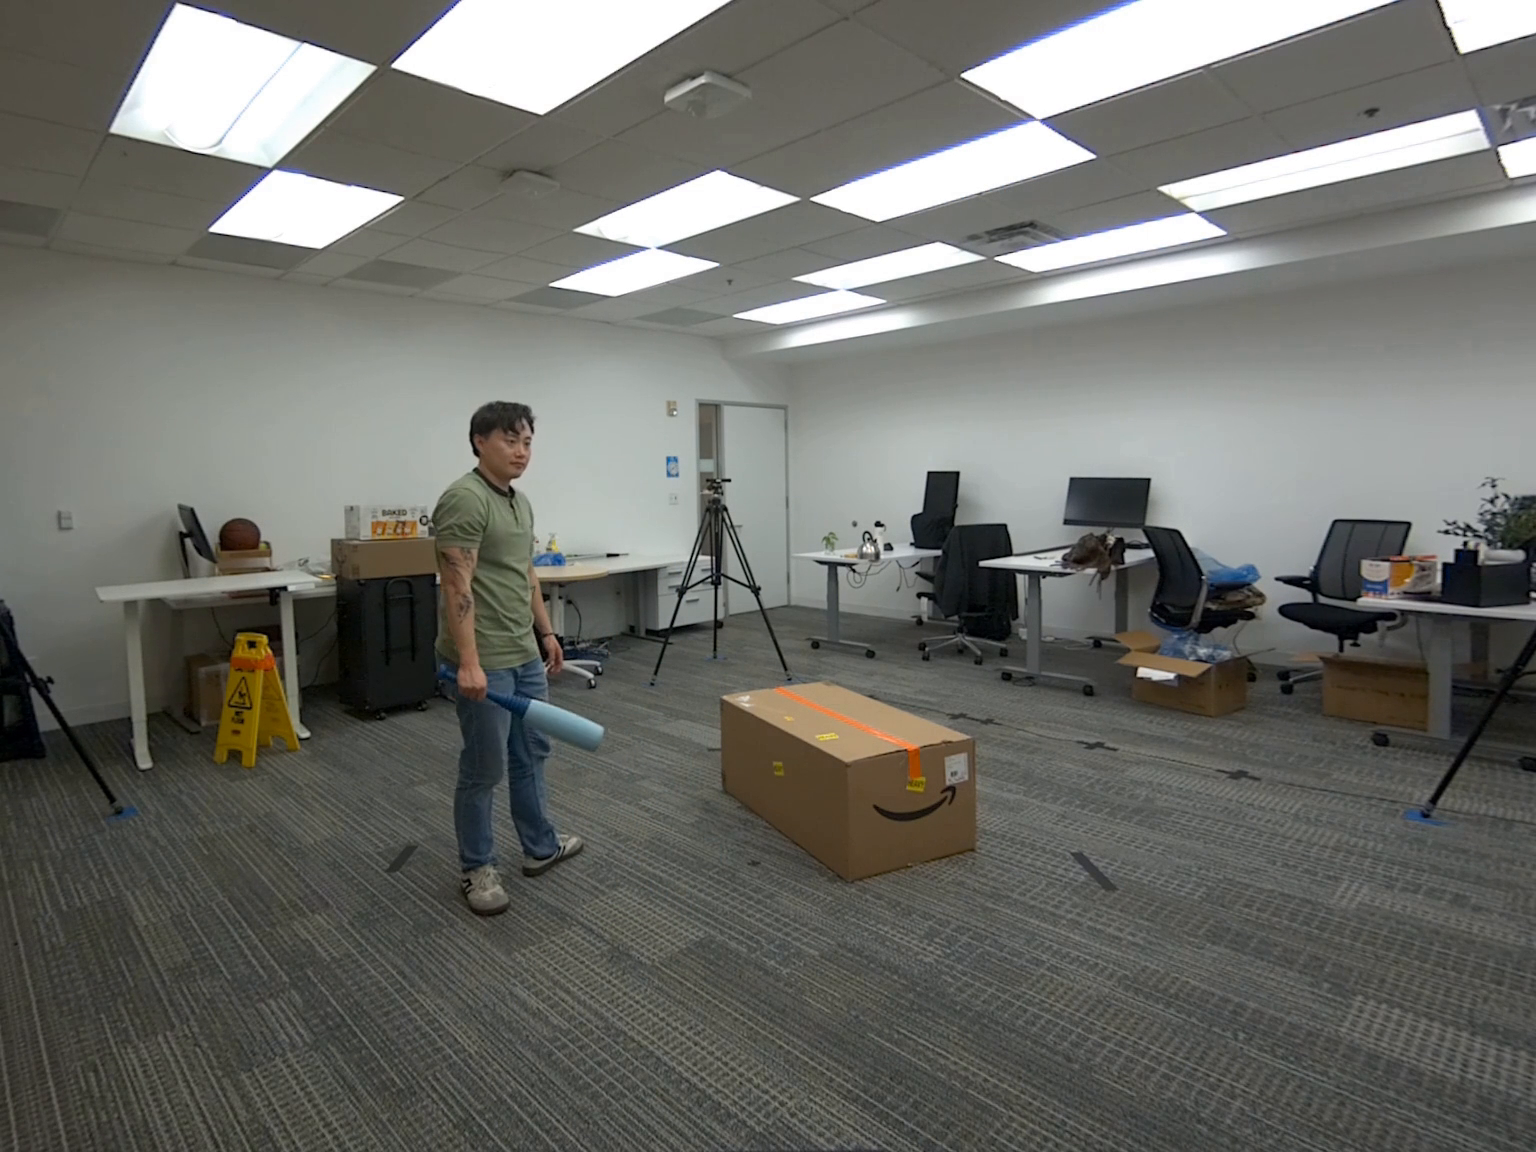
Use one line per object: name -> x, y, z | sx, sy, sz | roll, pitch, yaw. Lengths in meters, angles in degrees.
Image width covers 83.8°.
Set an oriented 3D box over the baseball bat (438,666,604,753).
baseball bat -> -0.760, 0.404, 2.637 | 0.539, 0.089, 0.090 | 23, 2, -6
